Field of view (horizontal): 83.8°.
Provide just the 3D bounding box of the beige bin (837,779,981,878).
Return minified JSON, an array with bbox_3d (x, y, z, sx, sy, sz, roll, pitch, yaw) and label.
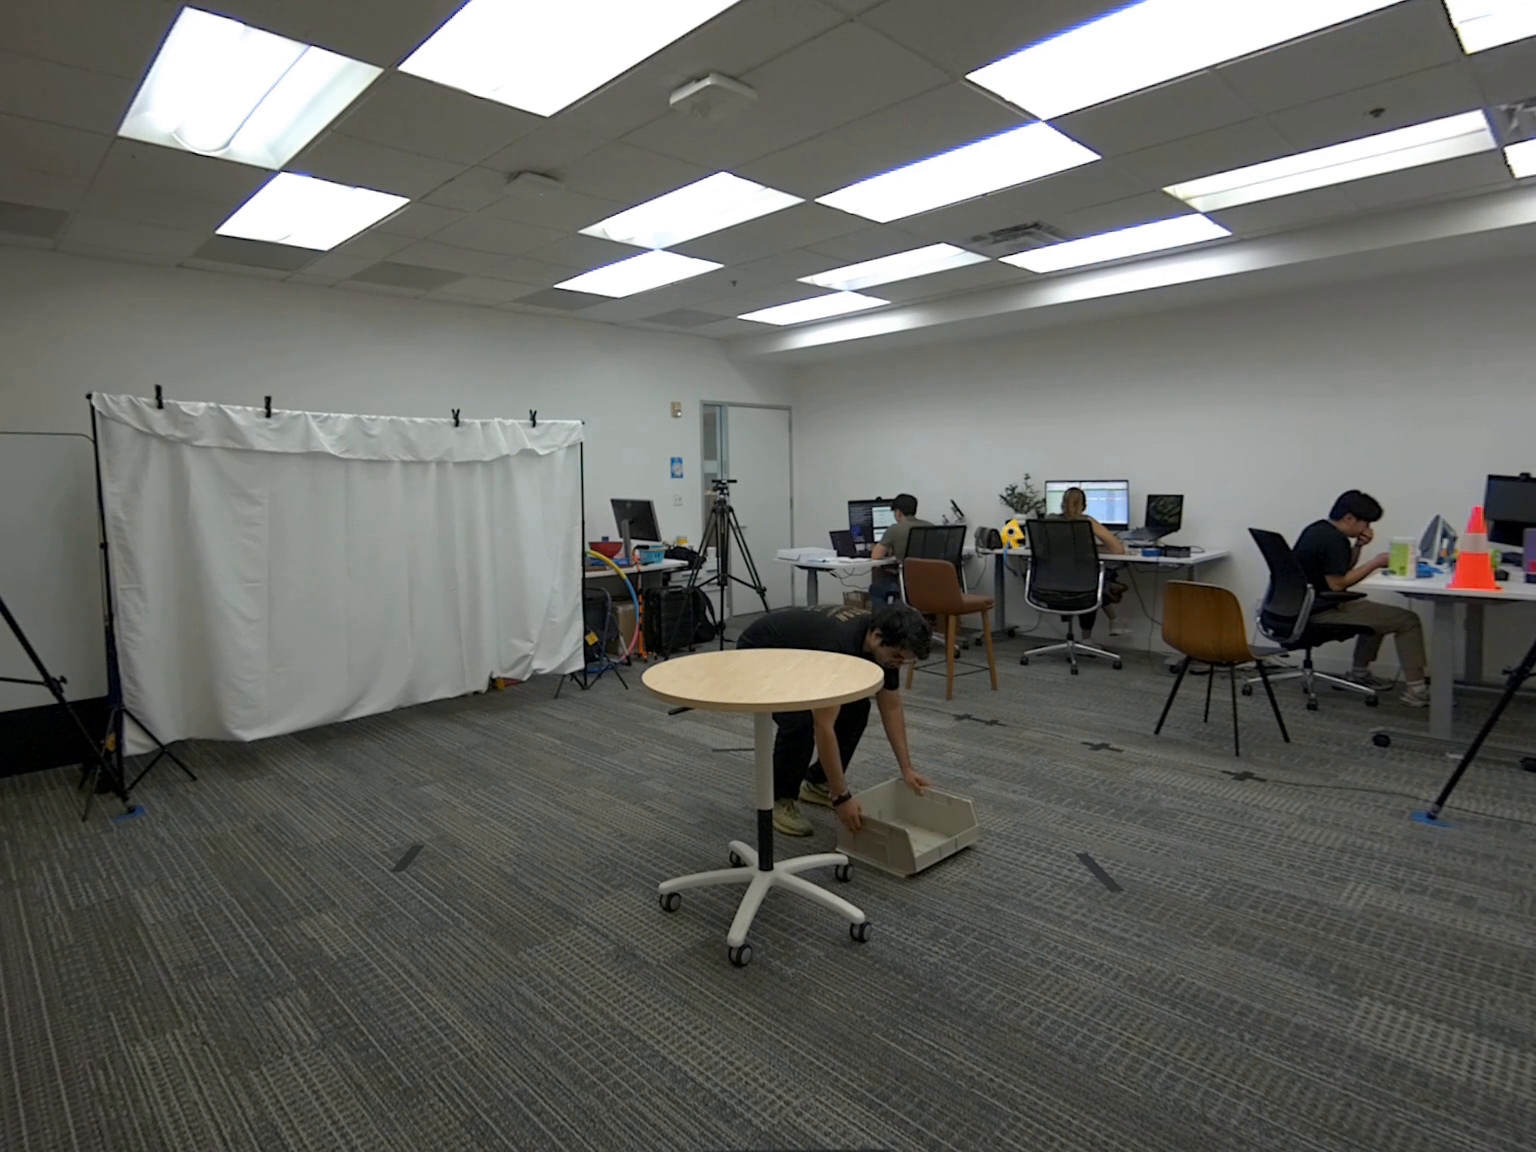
[{"bbox_3d":[0.516,0.932,3.202,0.411,0.188,0.389,-7,7,-43],"label":"beige bin"}]
